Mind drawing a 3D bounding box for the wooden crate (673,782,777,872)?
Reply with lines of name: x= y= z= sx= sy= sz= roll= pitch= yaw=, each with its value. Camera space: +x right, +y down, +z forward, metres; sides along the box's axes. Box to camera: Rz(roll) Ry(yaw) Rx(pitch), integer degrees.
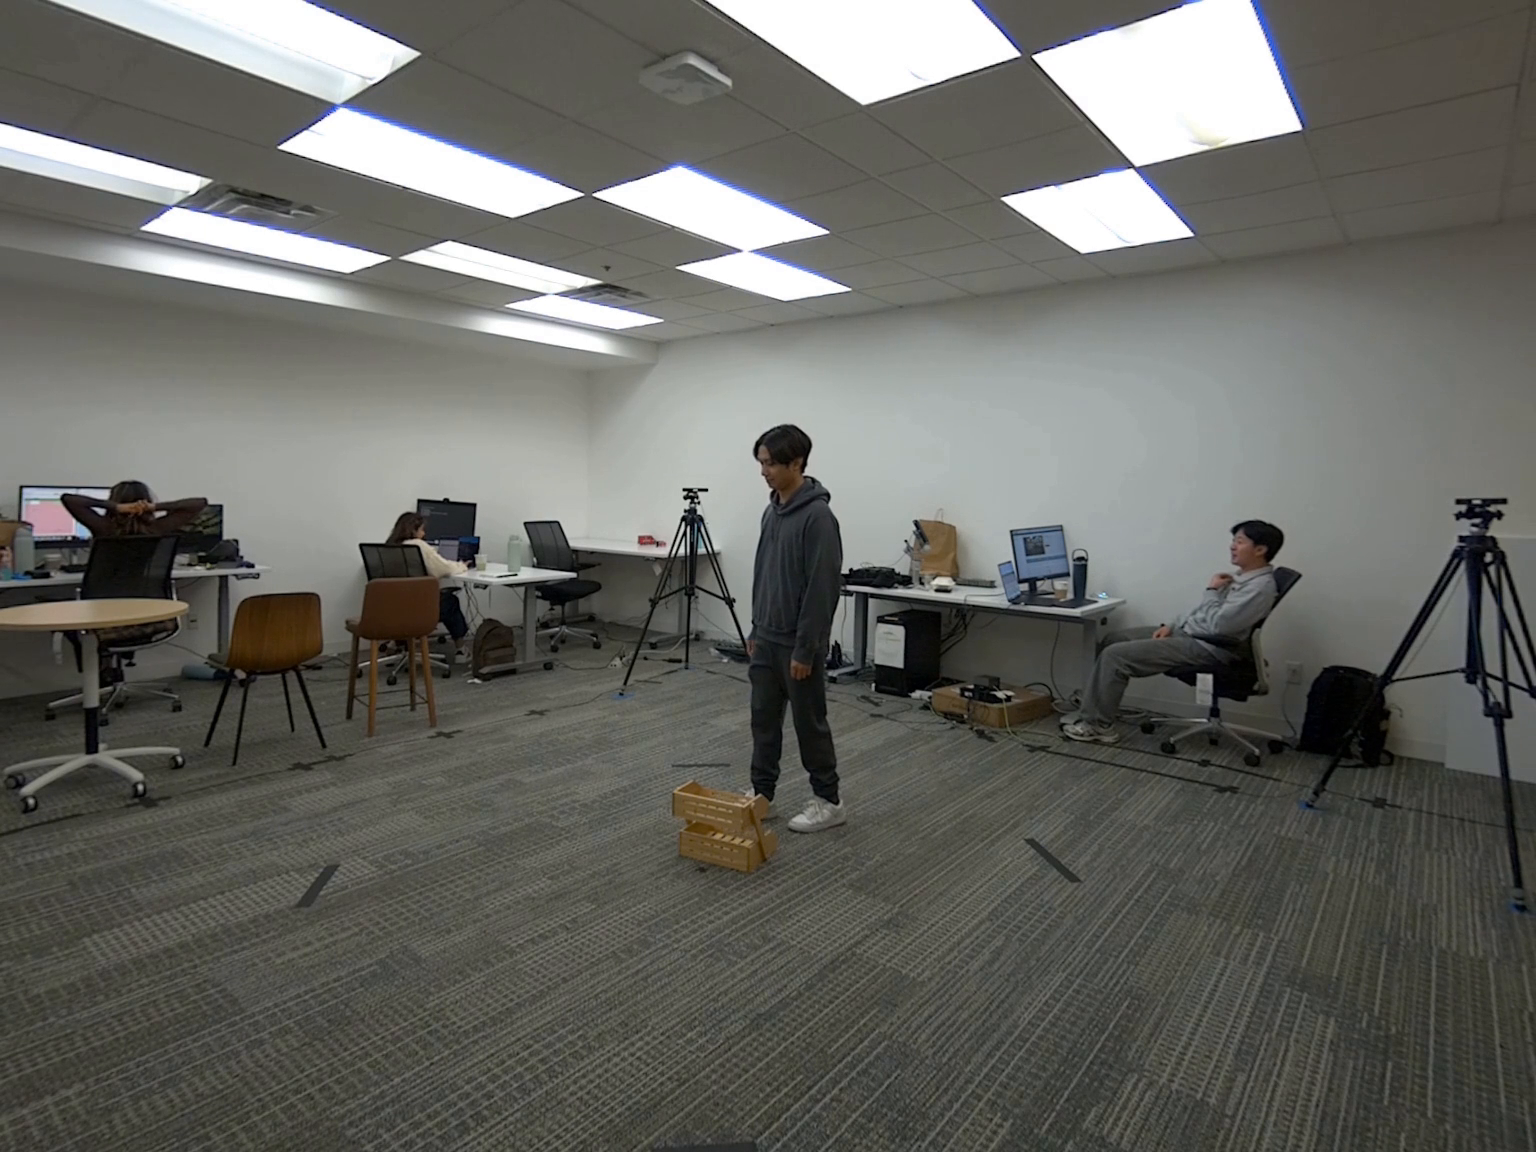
wooden crate: x=-0.170 y=0.924 z=3.238 sx=0.333 sy=0.272 sz=0.295 roll=4 pitch=5 yaw=27
